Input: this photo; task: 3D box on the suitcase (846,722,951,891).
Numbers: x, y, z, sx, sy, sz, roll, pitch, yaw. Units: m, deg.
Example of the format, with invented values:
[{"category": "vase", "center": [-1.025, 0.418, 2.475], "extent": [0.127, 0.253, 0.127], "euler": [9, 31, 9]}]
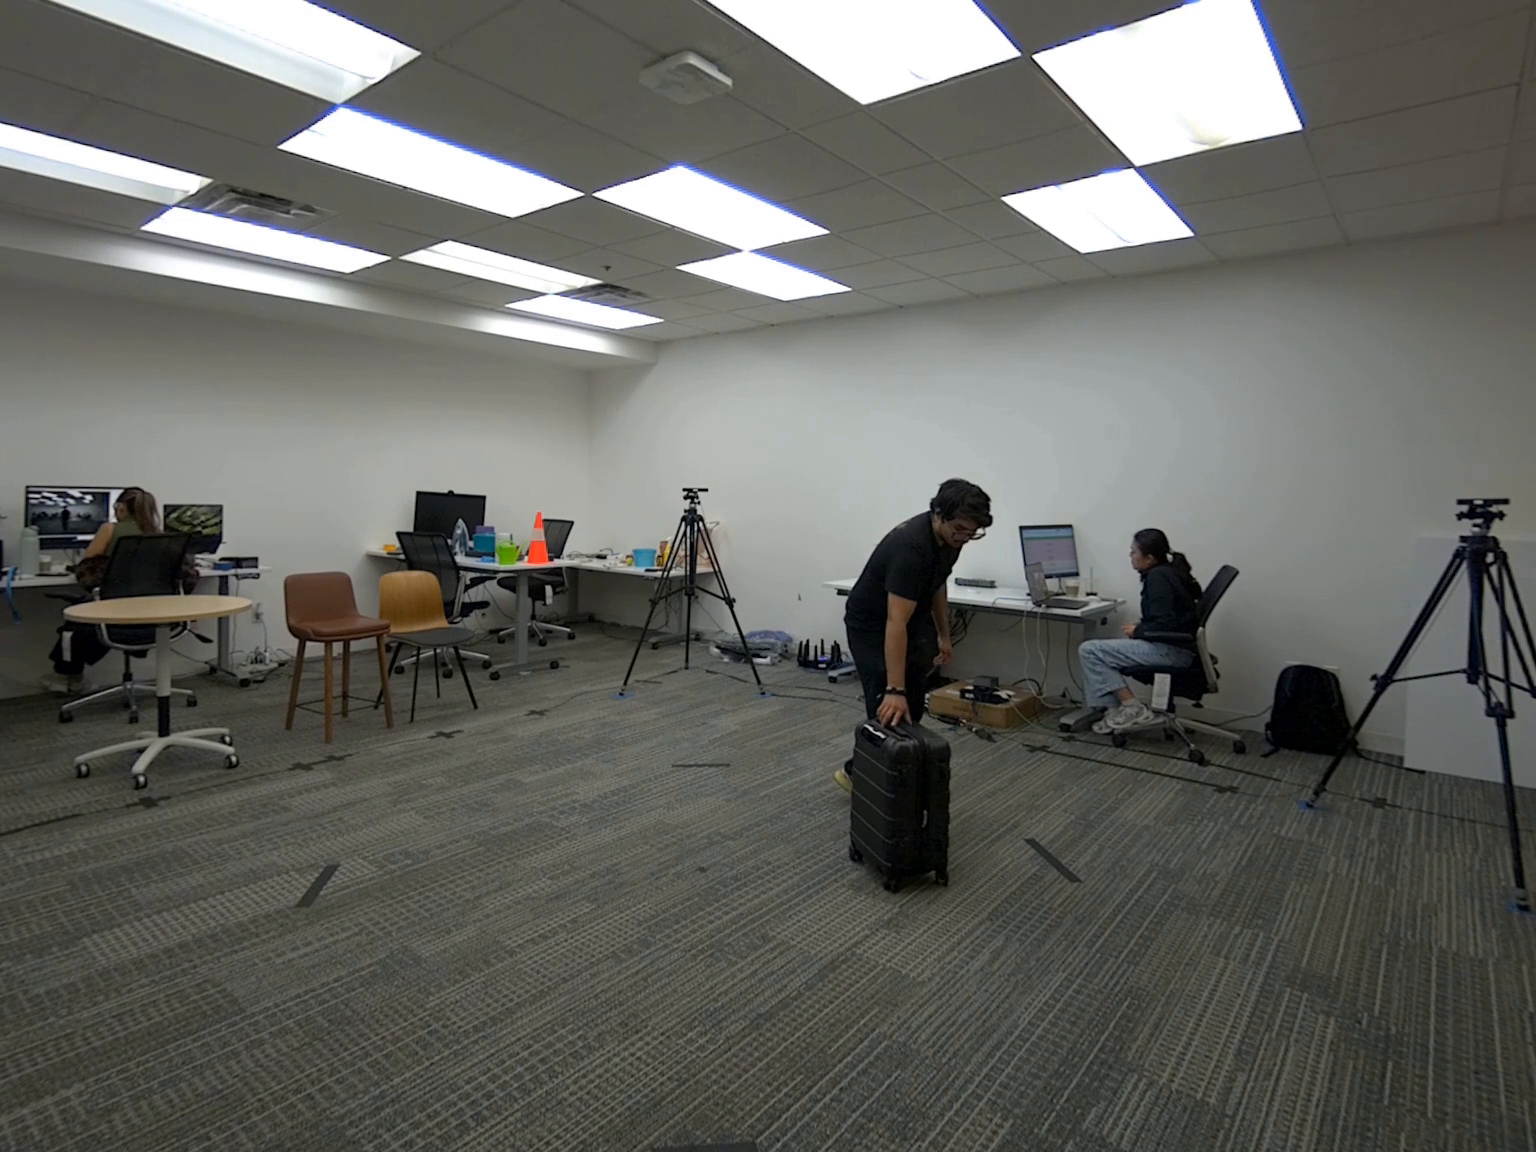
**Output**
[{"category": "suitcase", "center": [0.471, 0.805, 3.122], "extent": [0.244, 0.548, 0.383], "euler": [0, 3, -18]}]
